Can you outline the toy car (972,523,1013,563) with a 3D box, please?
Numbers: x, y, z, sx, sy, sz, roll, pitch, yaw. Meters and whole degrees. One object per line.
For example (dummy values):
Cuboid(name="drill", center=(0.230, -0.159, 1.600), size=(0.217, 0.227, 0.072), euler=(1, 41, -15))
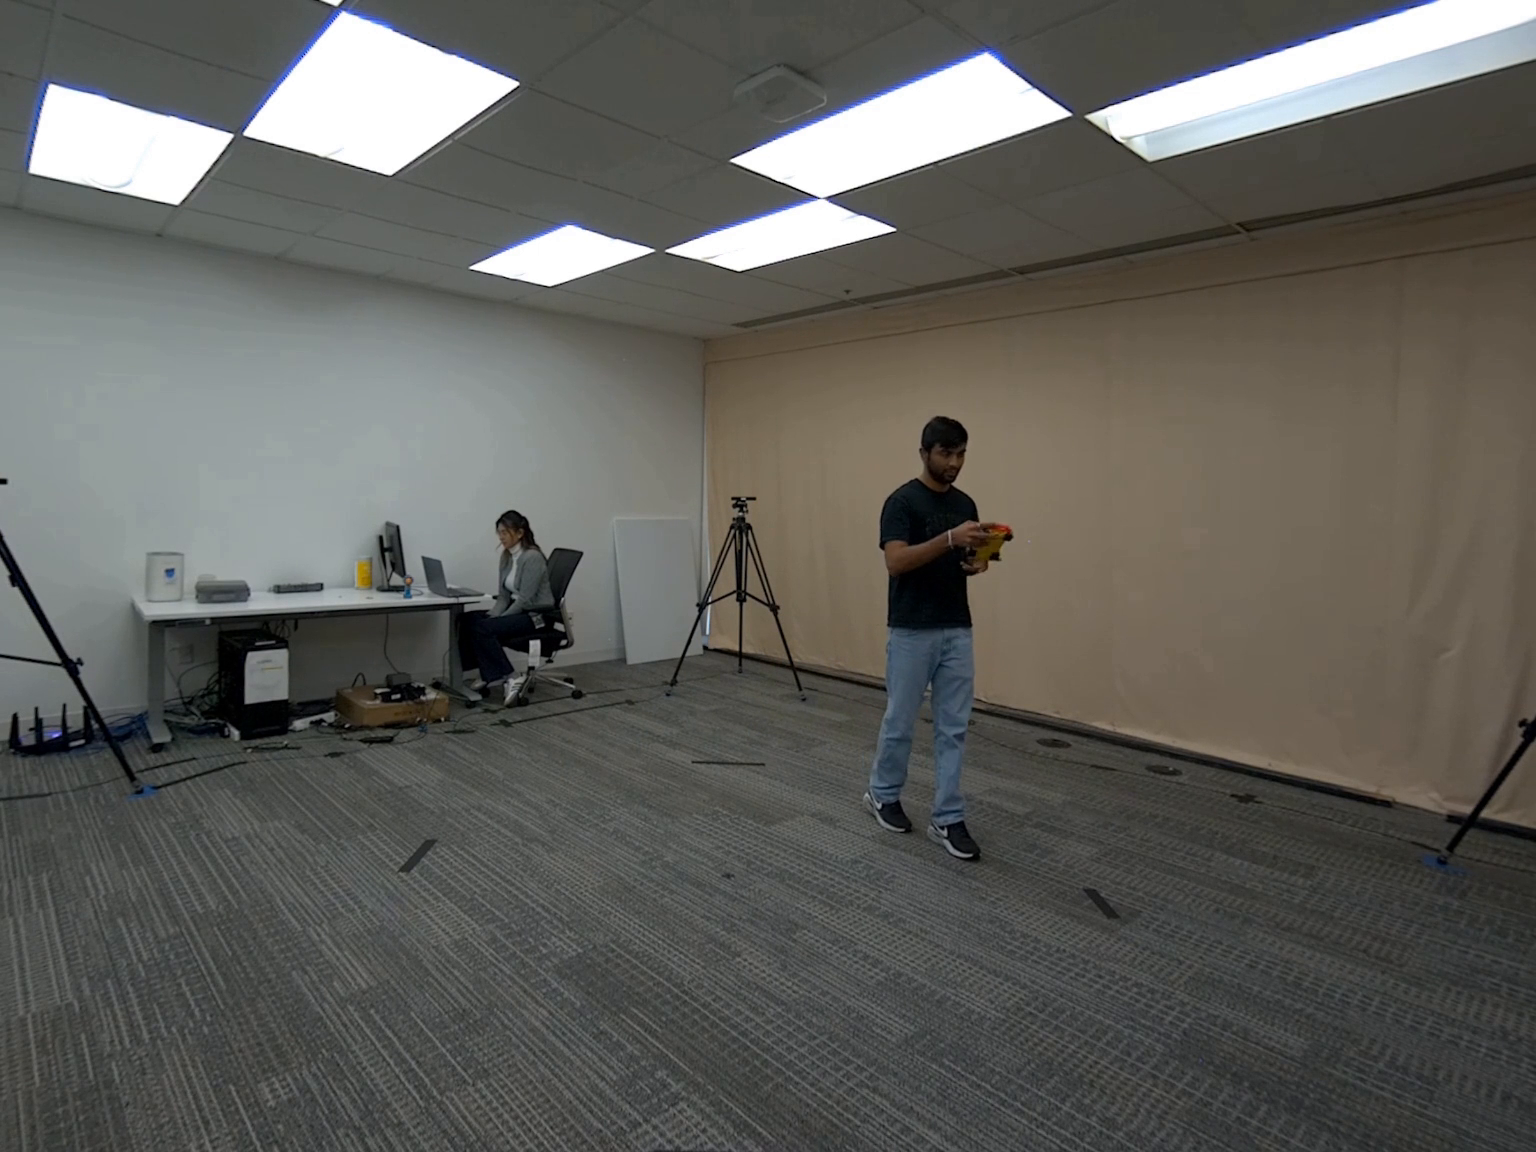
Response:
Cuboid(name="toy car", center=(0.818, -0.123, 3.191), size=(0.130, 0.084, 0.253), euler=(5, -15, -4))
